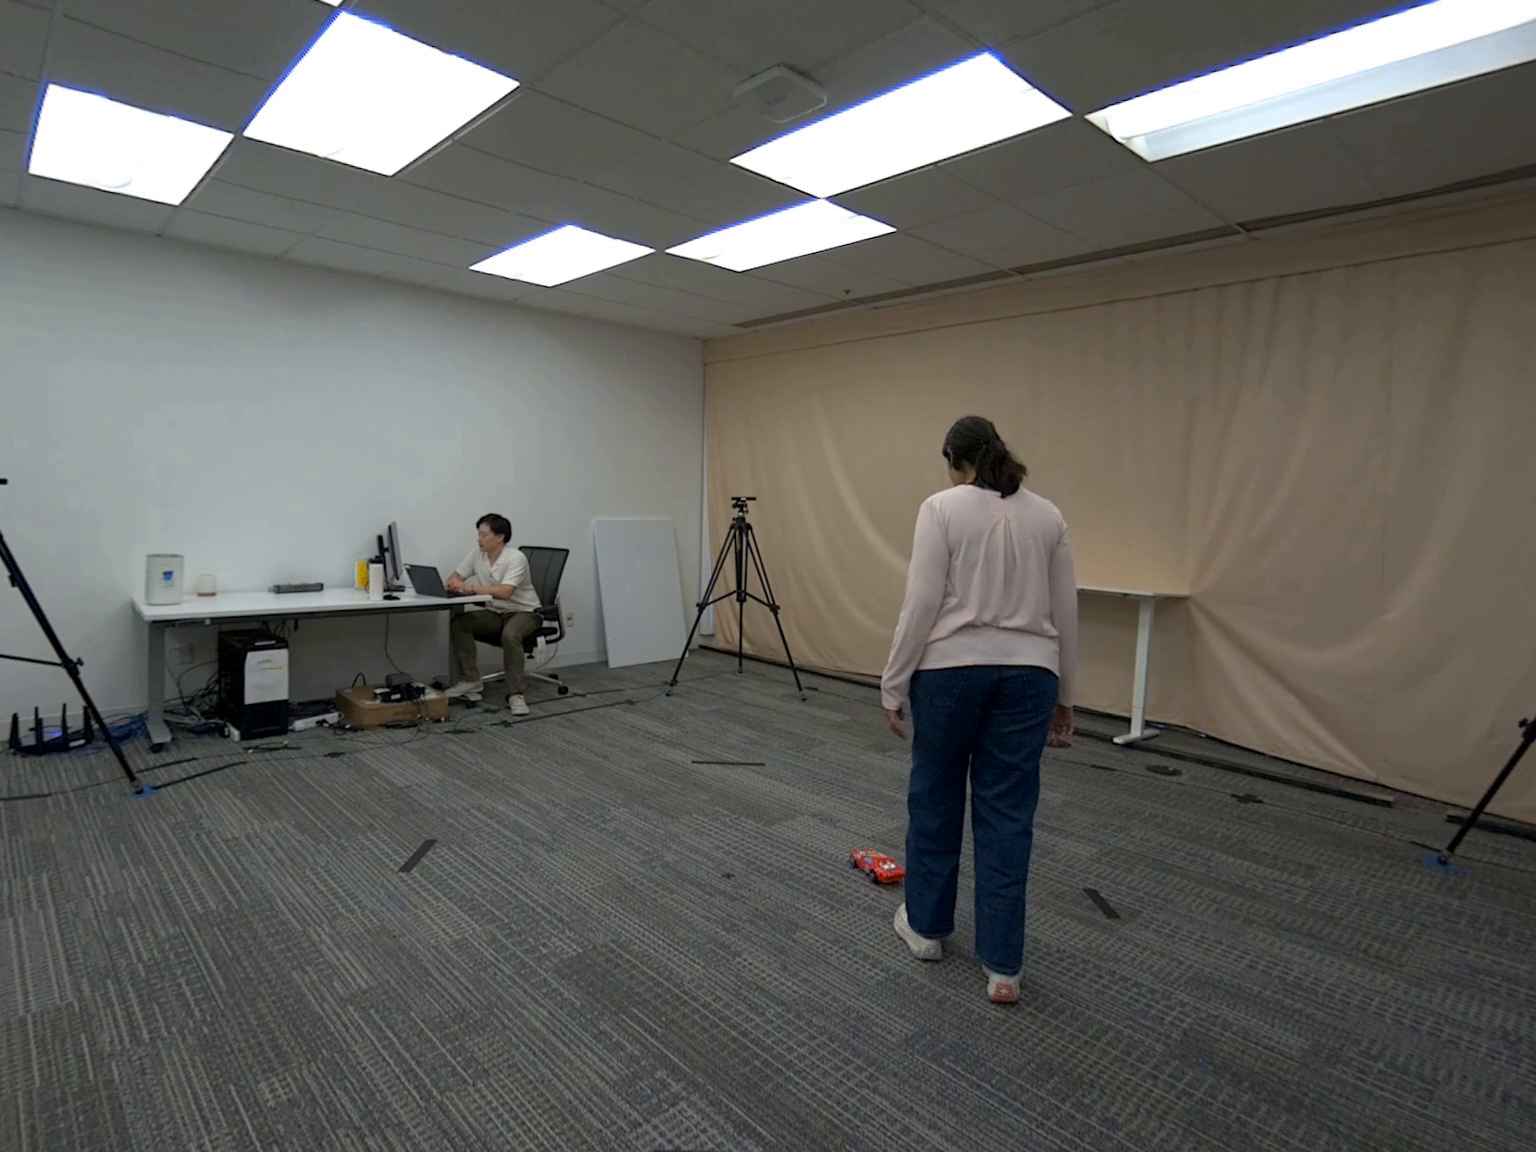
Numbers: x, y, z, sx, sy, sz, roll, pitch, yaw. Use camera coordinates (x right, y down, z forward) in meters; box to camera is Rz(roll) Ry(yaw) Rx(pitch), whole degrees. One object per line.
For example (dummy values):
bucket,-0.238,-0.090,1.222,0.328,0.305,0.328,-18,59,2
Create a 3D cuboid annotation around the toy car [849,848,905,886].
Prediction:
toy car,0.405,1.086,3.138,0.128,0.083,0.258,1,-6,-24
